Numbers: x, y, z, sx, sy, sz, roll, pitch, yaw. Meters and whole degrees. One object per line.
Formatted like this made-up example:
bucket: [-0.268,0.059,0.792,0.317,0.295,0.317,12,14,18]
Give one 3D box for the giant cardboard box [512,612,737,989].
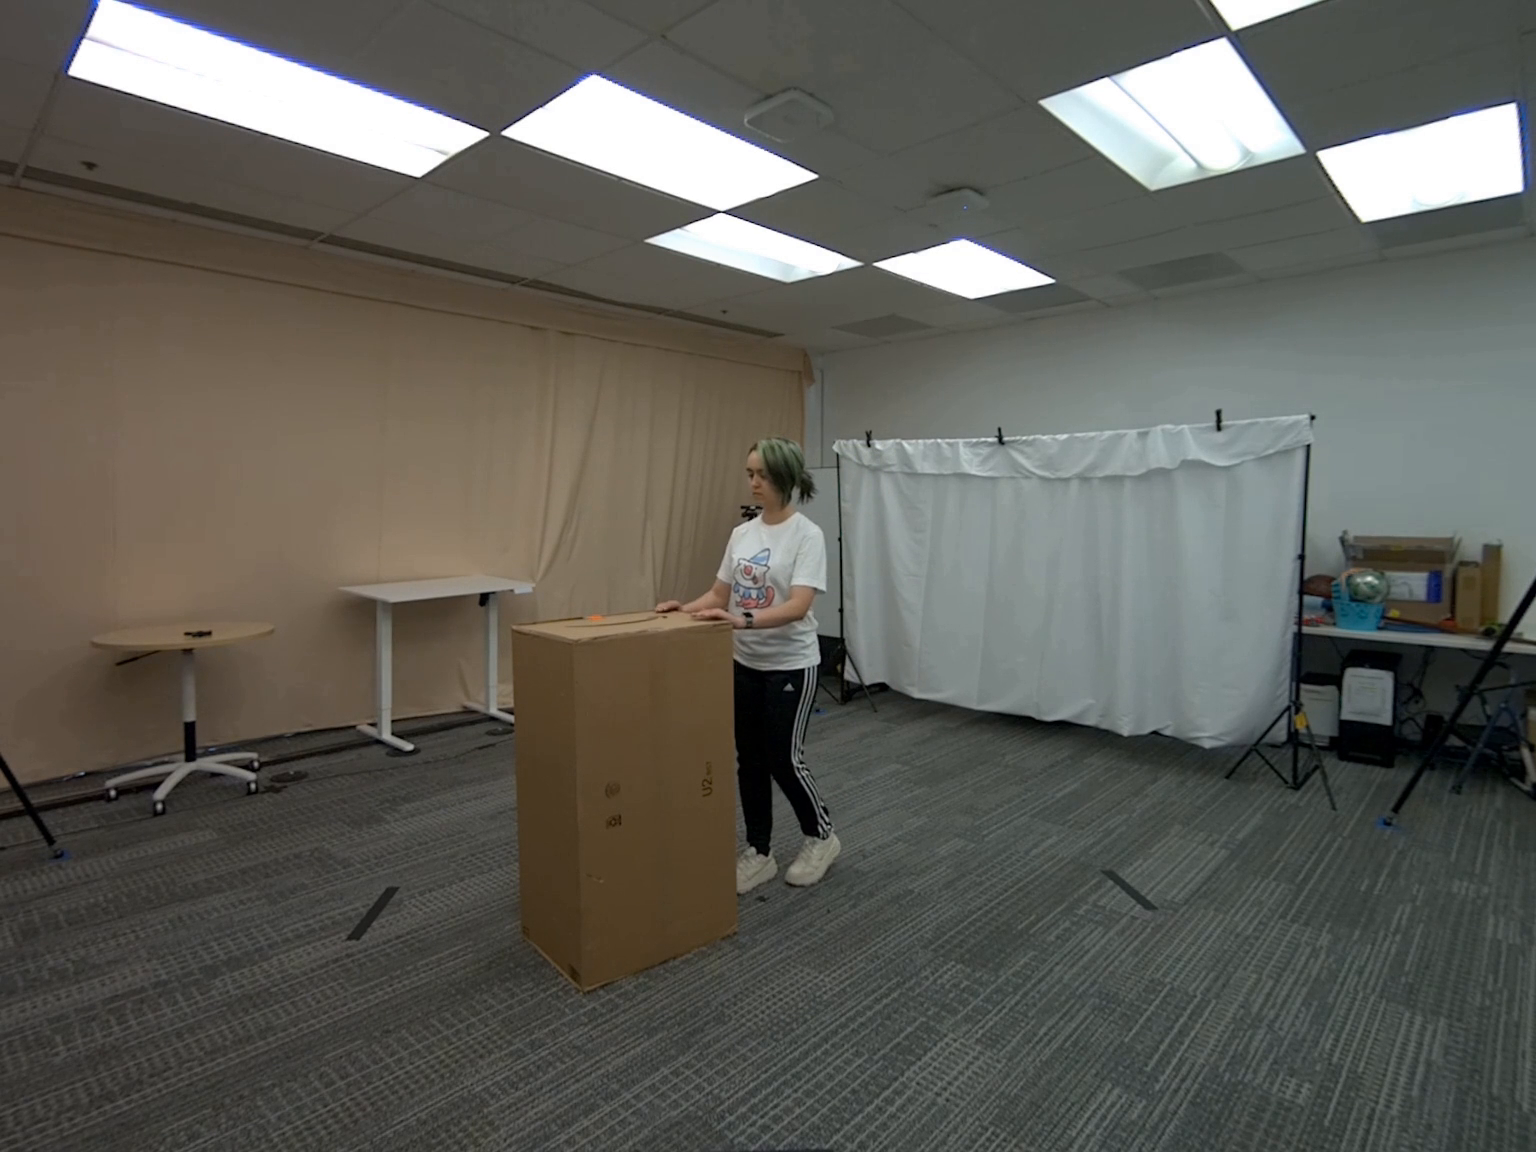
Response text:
giant cardboard box: [-0.463,0.663,2.712,0.566,1.024,0.461,-3,5,-40]
